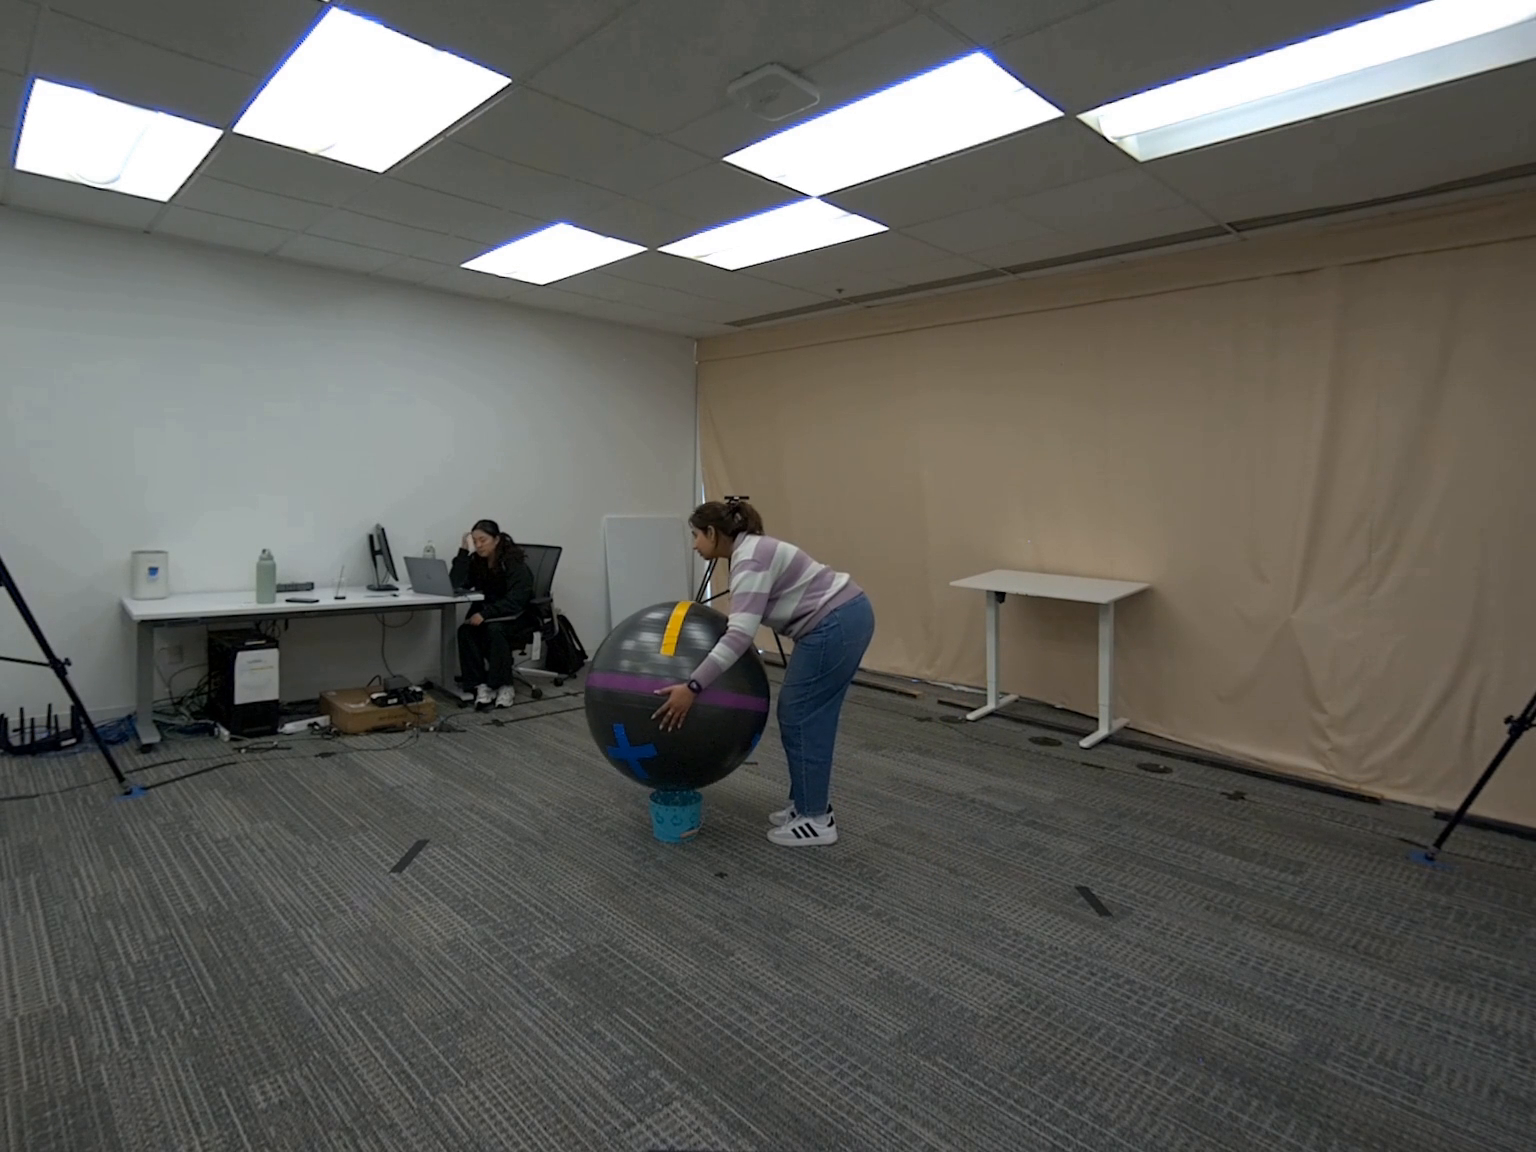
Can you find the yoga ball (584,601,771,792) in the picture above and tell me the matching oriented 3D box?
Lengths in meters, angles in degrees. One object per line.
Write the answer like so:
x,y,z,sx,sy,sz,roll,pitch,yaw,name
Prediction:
-0.373,0.484,3.442,0.757,0.756,0.761,1,4,-1,yoga ball
